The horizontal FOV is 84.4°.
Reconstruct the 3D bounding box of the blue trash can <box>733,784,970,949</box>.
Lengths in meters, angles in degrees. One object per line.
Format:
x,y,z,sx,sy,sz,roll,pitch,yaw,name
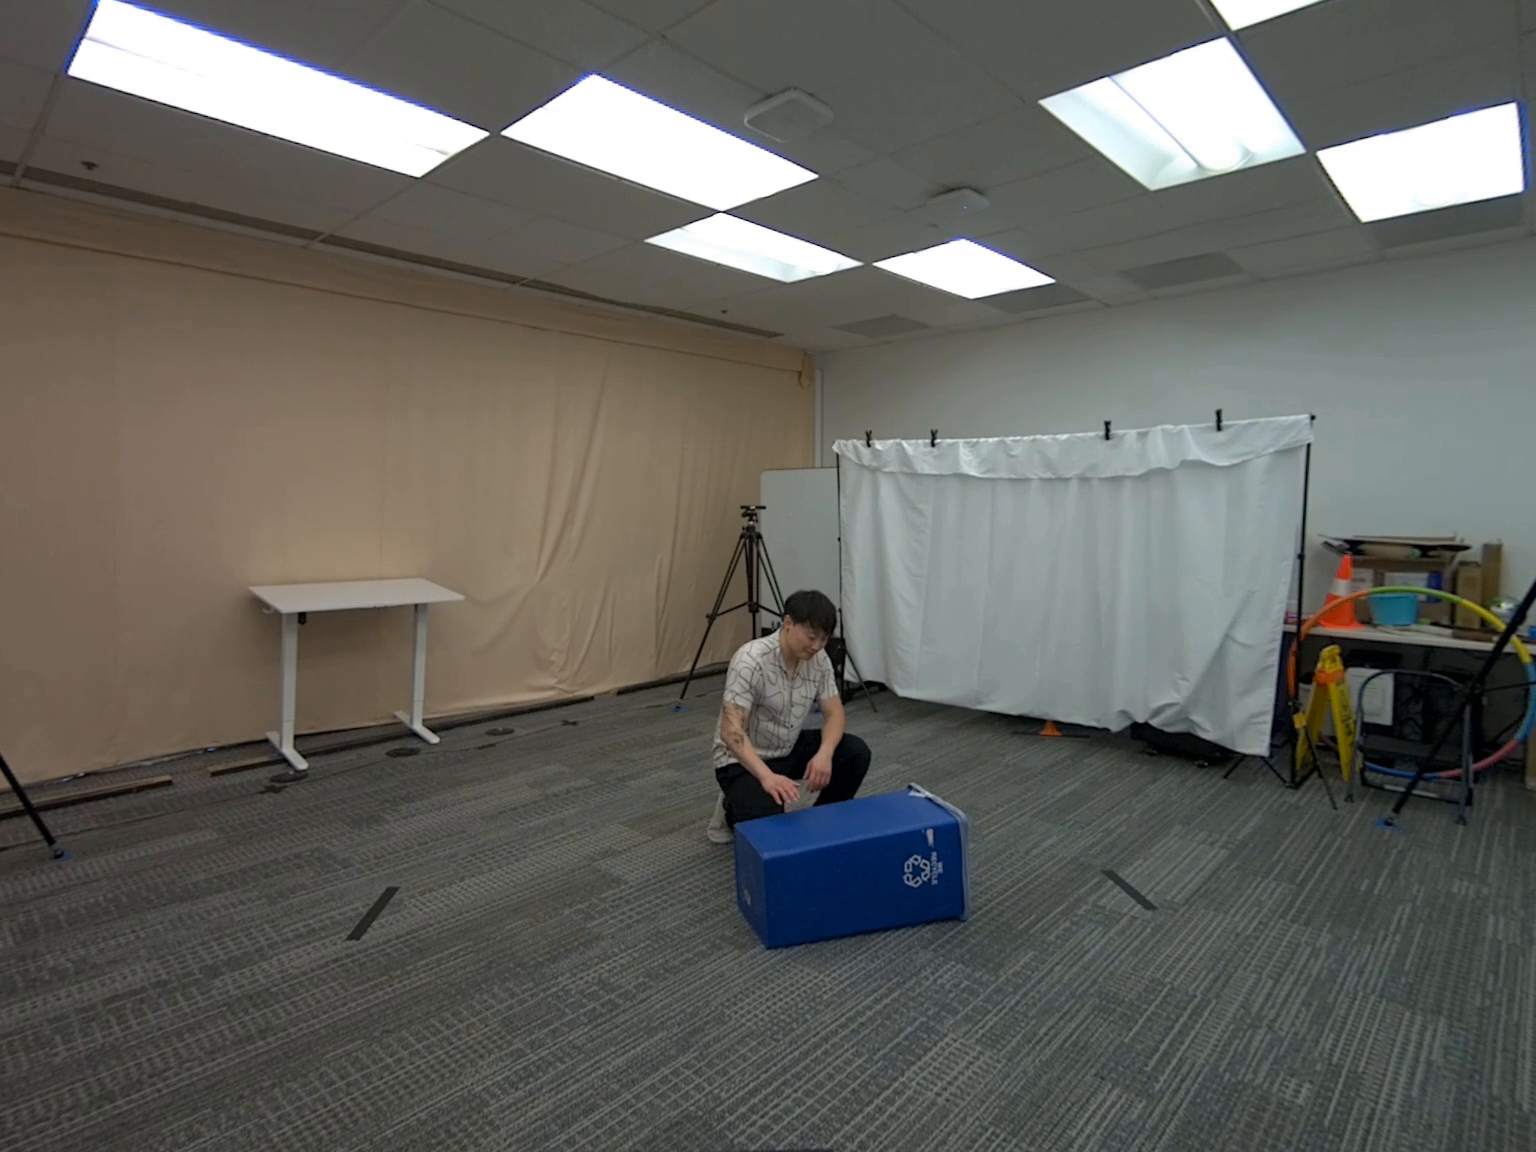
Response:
0.275,0.984,2.872,0.702,0.373,0.385,-5,4,-17,blue trash can
